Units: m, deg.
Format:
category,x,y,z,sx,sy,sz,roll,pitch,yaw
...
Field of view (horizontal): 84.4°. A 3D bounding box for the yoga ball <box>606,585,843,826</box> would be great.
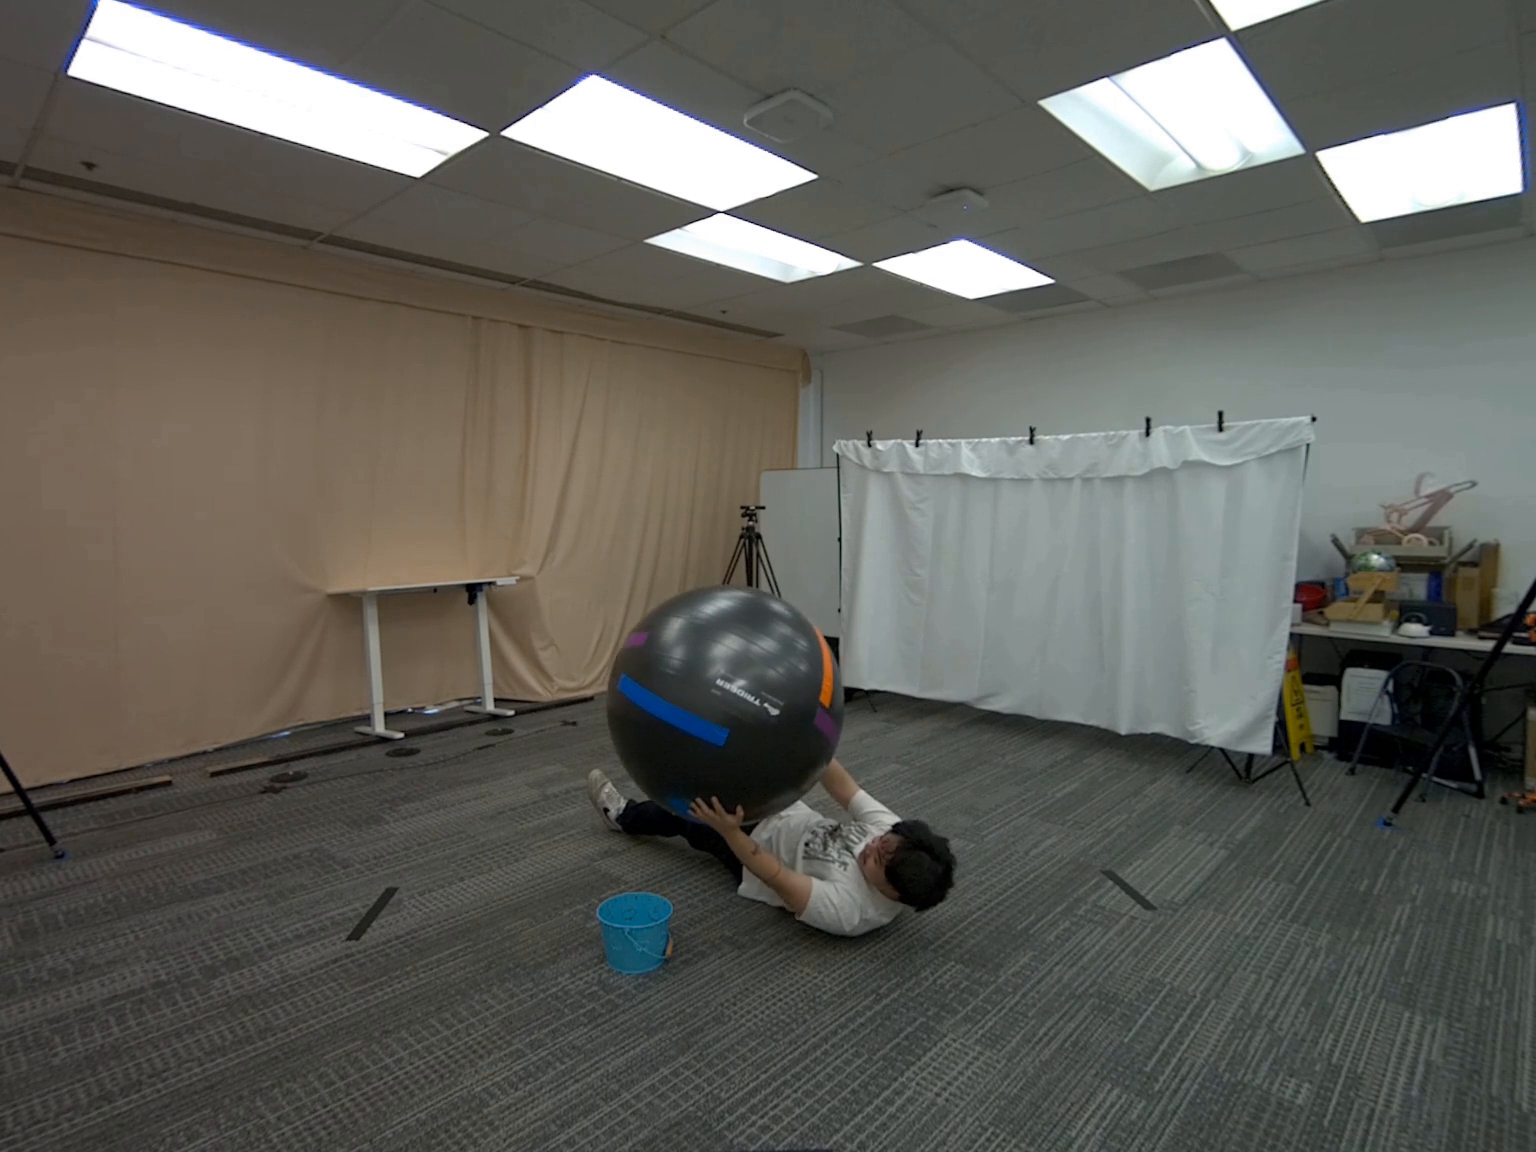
category,x,y,z,sx,sy,sz,roll,pitch,yaw
yoga ball,-0.136,0.409,2.718,0.757,0.756,0.761,0,4,-2
